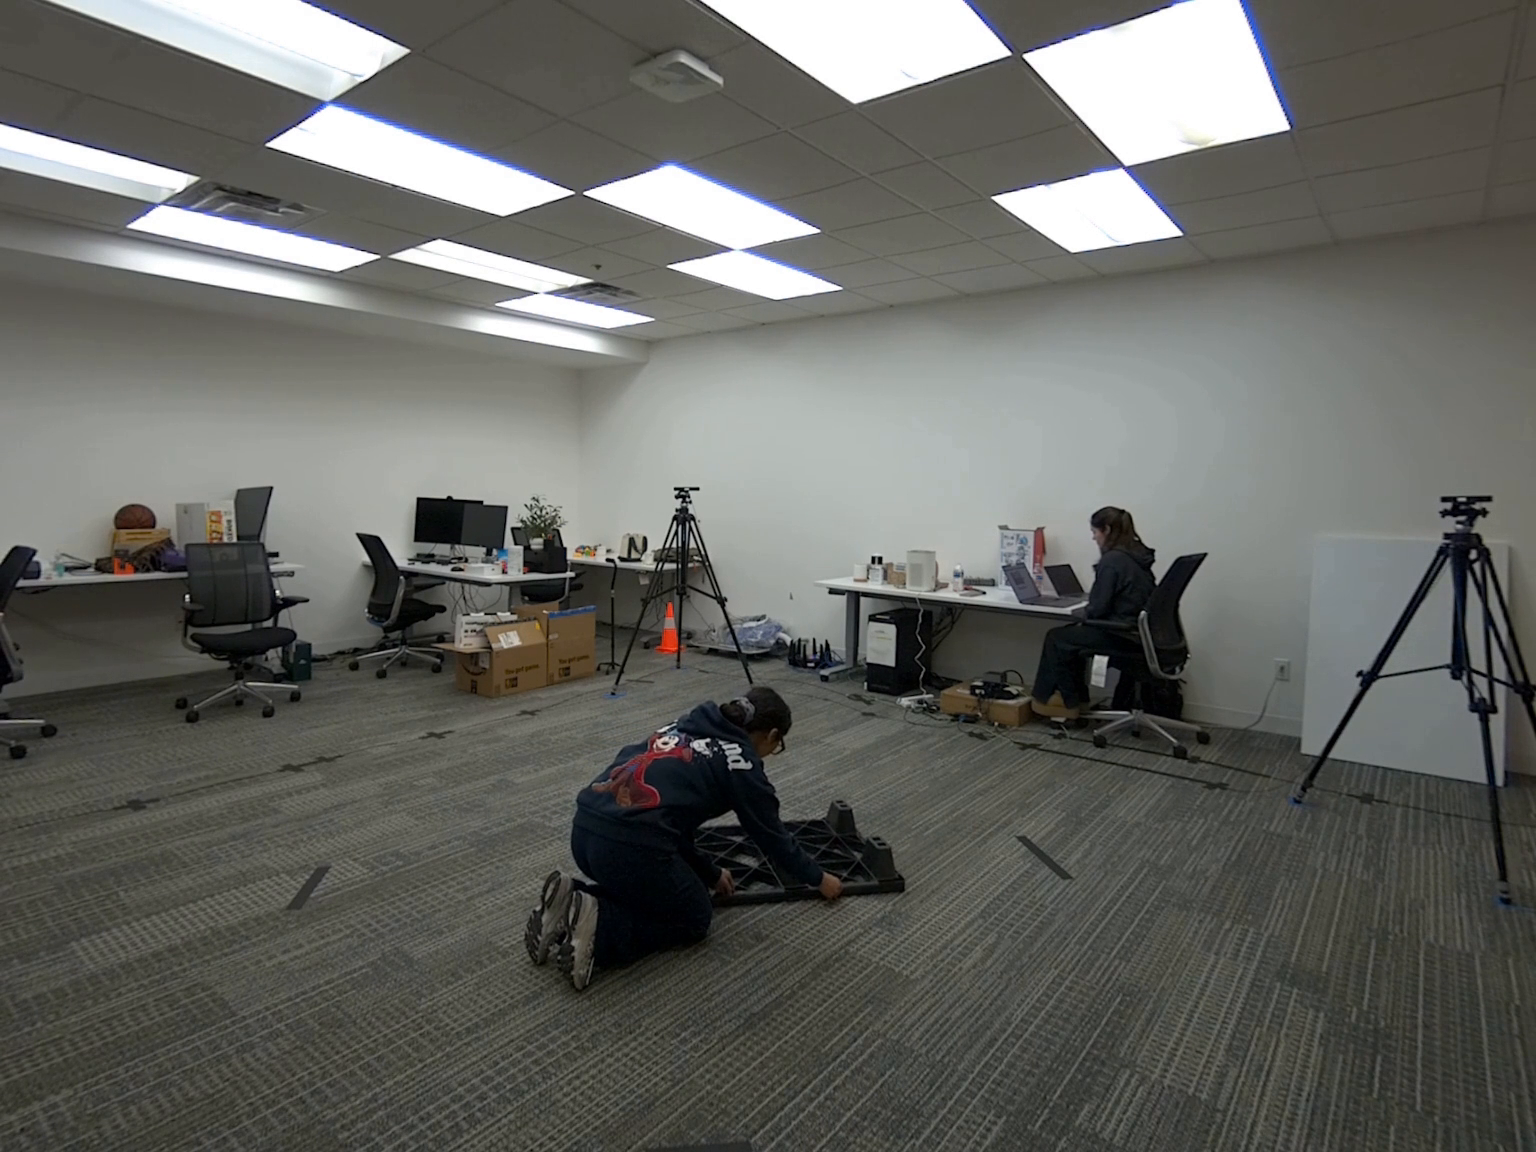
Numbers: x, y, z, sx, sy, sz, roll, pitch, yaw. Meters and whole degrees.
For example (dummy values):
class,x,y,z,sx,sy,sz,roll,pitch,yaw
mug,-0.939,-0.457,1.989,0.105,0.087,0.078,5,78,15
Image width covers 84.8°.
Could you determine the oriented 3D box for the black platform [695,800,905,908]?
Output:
class,x,y,z,sx,sy,sz,roll,pitch,yaw
black platform,0.013,0.999,3.155,0.793,0.143,0.617,0,6,-15
